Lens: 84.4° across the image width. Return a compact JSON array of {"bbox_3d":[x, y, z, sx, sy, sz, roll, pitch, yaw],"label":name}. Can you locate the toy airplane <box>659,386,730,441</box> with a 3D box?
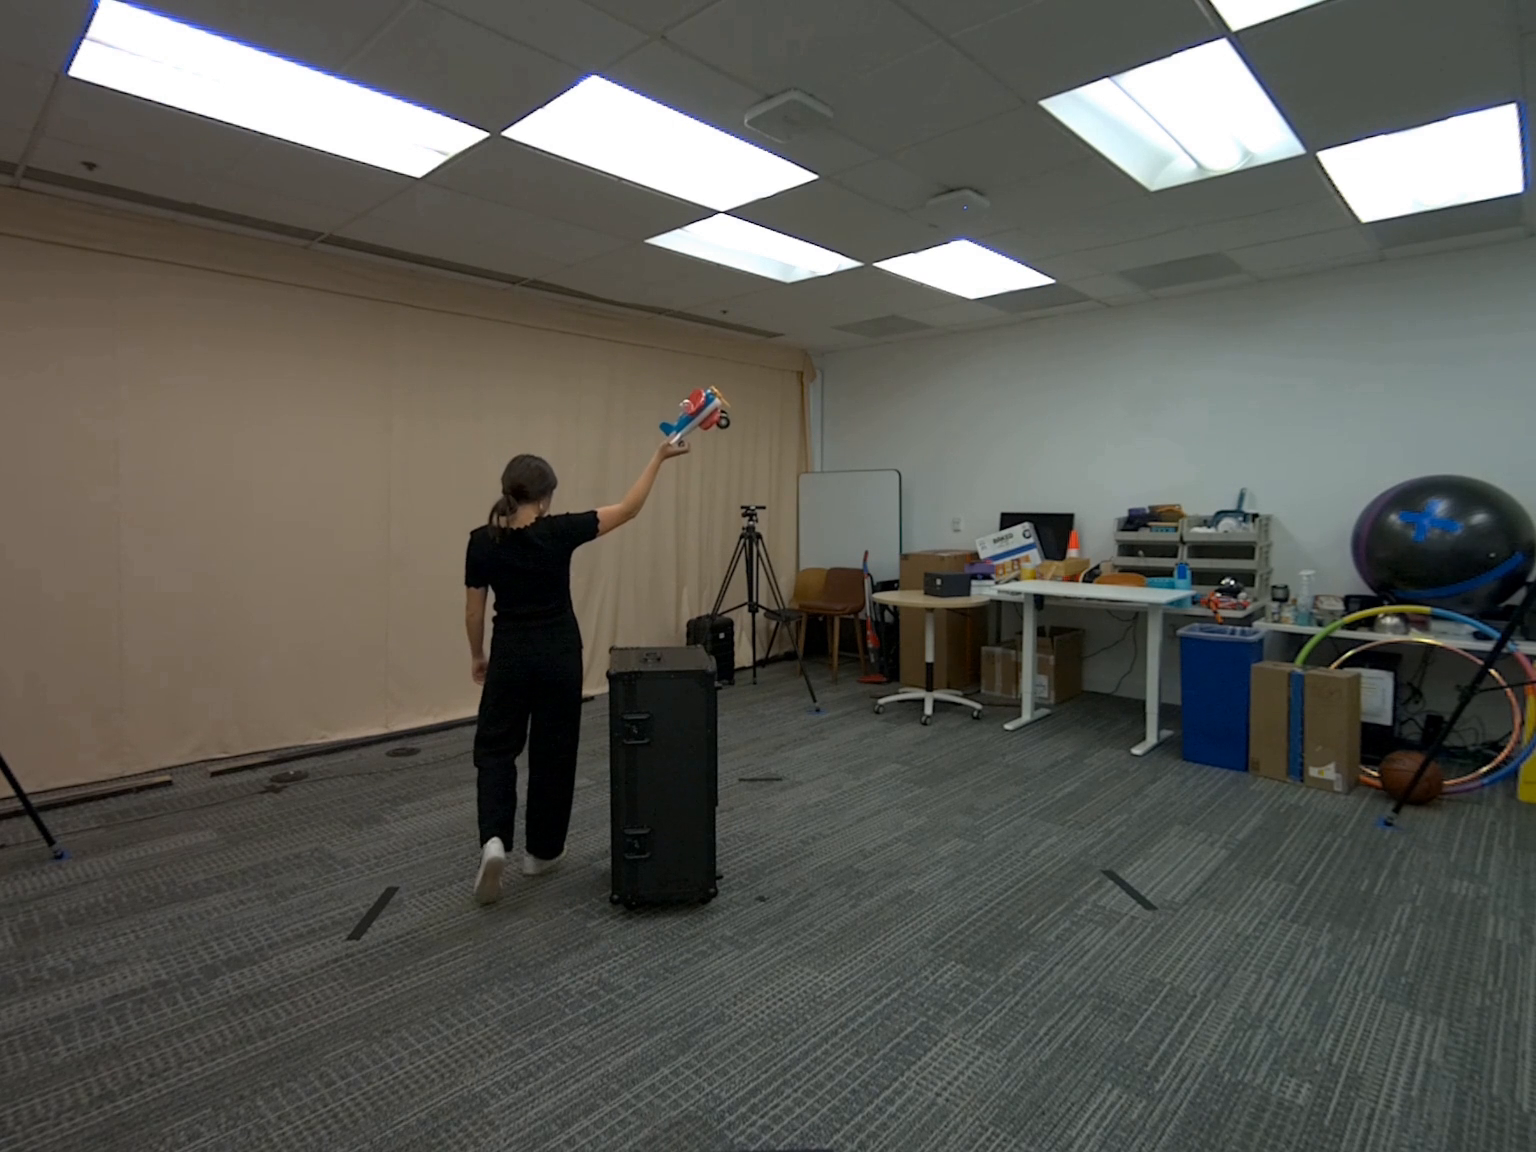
[{"bbox_3d":[-0.265,-0.582,3.129,0.257,0.153,0.259,-39,24,-21],"label":"toy airplane"}]
